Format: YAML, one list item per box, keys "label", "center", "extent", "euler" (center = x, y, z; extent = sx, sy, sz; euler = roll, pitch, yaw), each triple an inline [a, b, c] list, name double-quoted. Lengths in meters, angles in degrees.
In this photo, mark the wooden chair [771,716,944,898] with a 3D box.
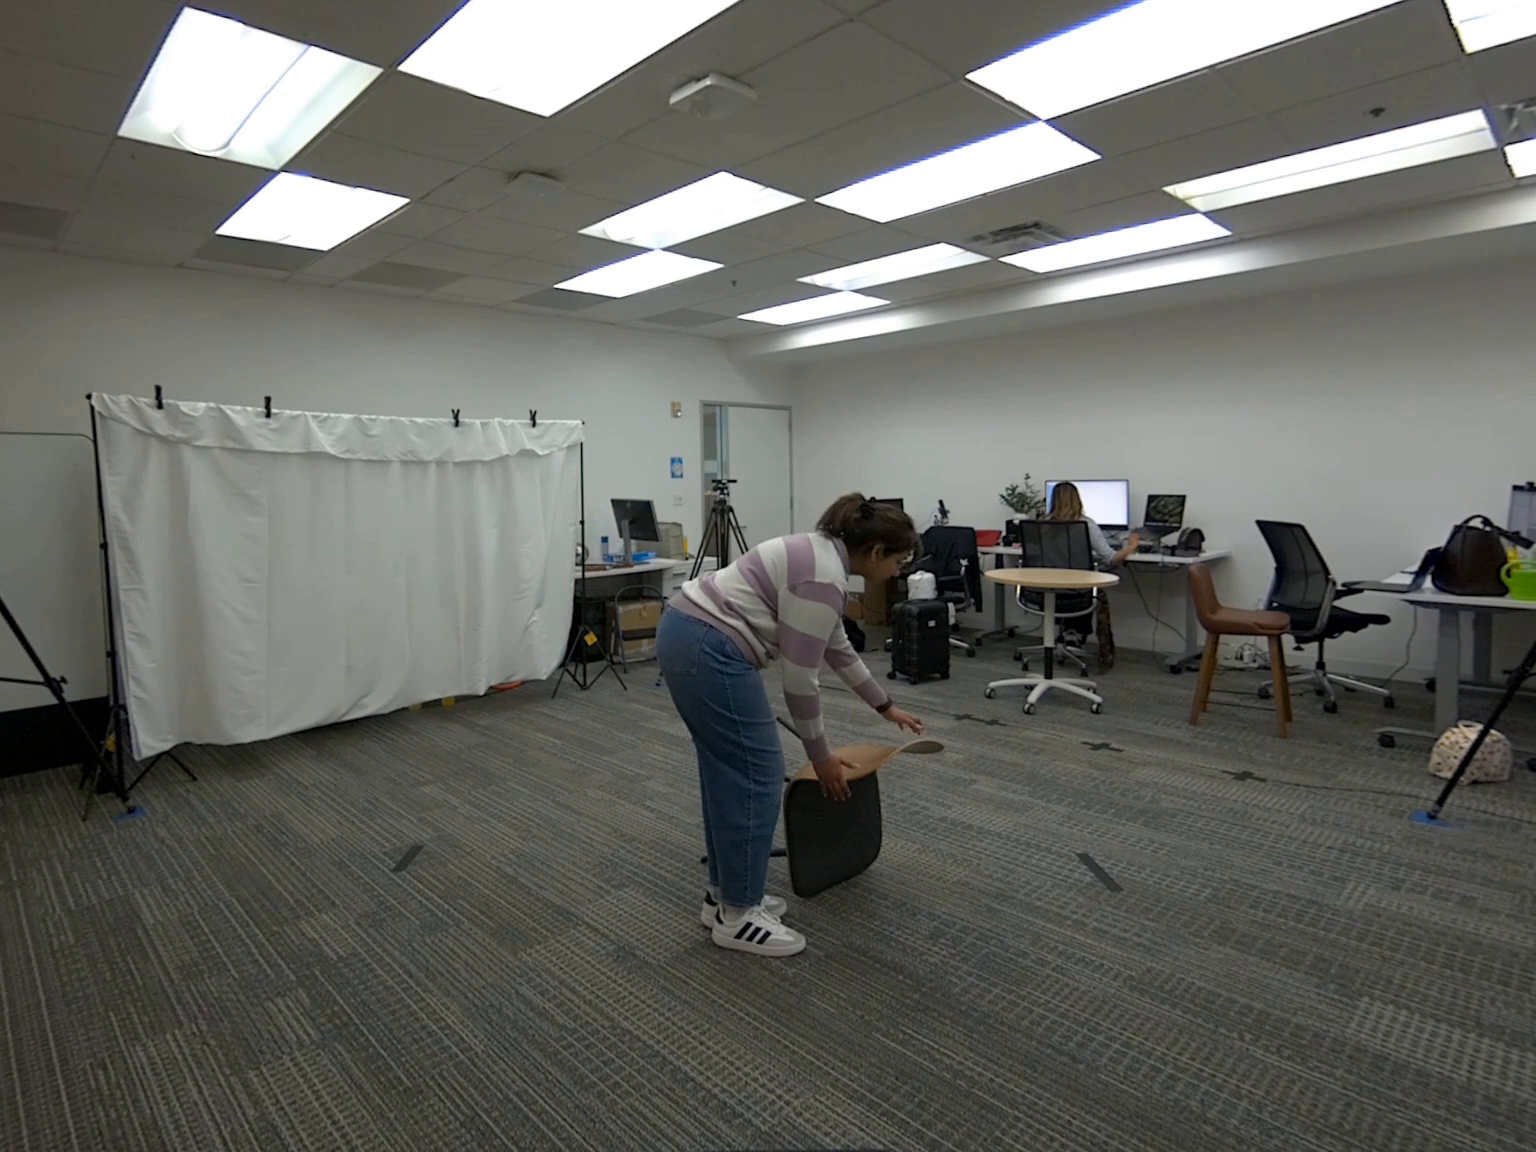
- label: "wooden chair"
  center: [0.199, 0.805, 2.953]
  extent: [0.465, 0.524, 0.899]
  euler: [-5, -2, -43]
